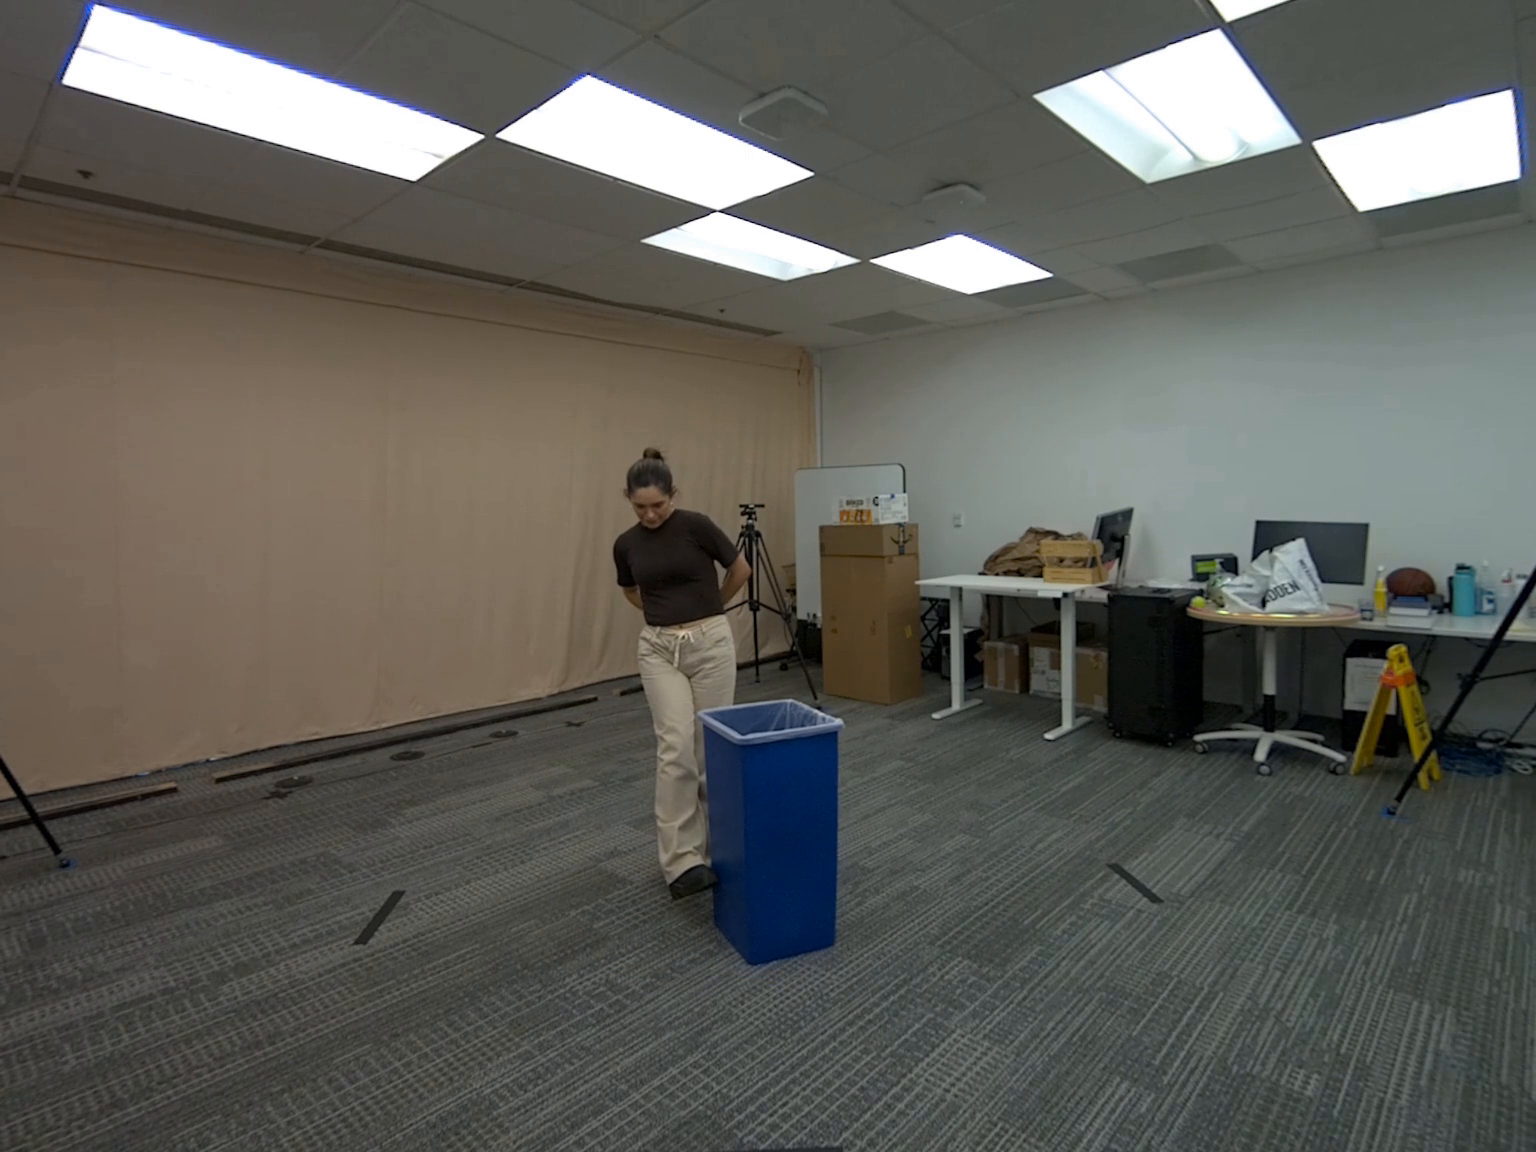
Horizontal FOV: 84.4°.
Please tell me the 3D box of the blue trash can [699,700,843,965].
[{"bbox_3d":[0.006,0.803,2.711,0.369,0.712,0.384,-3,4,-25],"label":"blue trash can"}]
